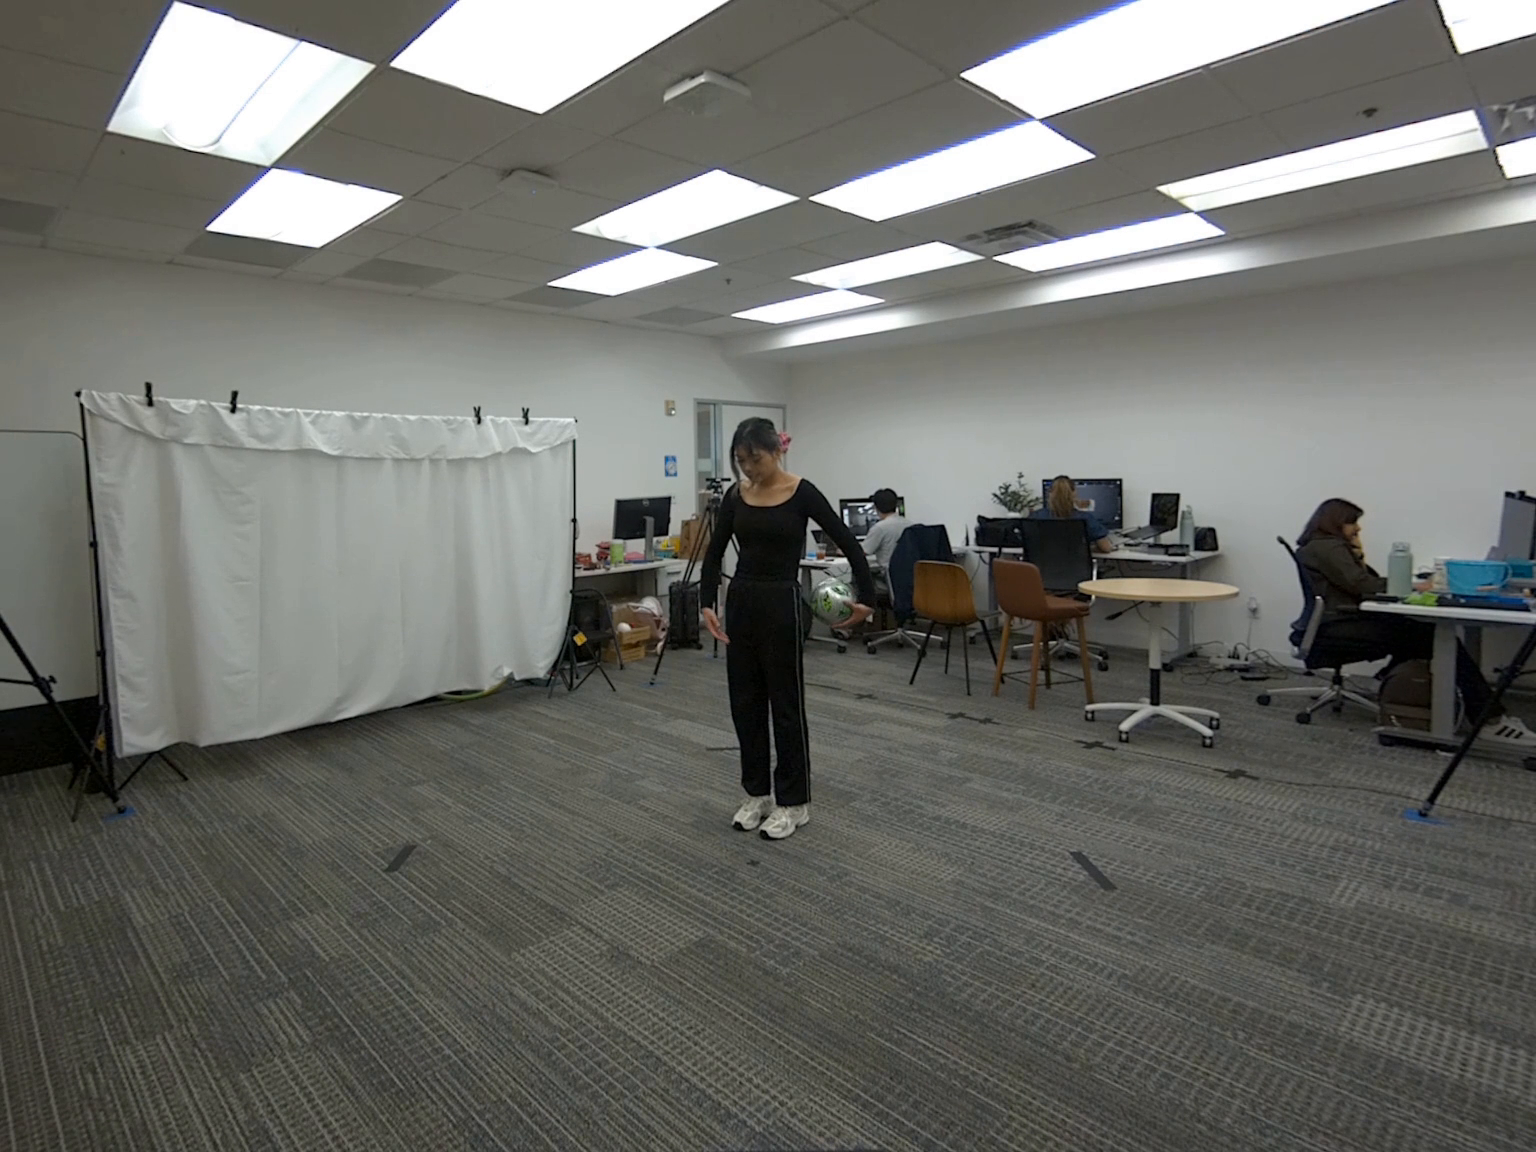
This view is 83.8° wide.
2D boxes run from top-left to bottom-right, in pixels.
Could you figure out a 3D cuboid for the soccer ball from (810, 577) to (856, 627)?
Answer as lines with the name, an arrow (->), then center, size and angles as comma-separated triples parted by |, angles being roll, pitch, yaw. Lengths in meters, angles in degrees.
soccer ball -> 0.244, 0.096, 3.310 | 0.187, 0.187, 0.188 | -1, 5, -2
